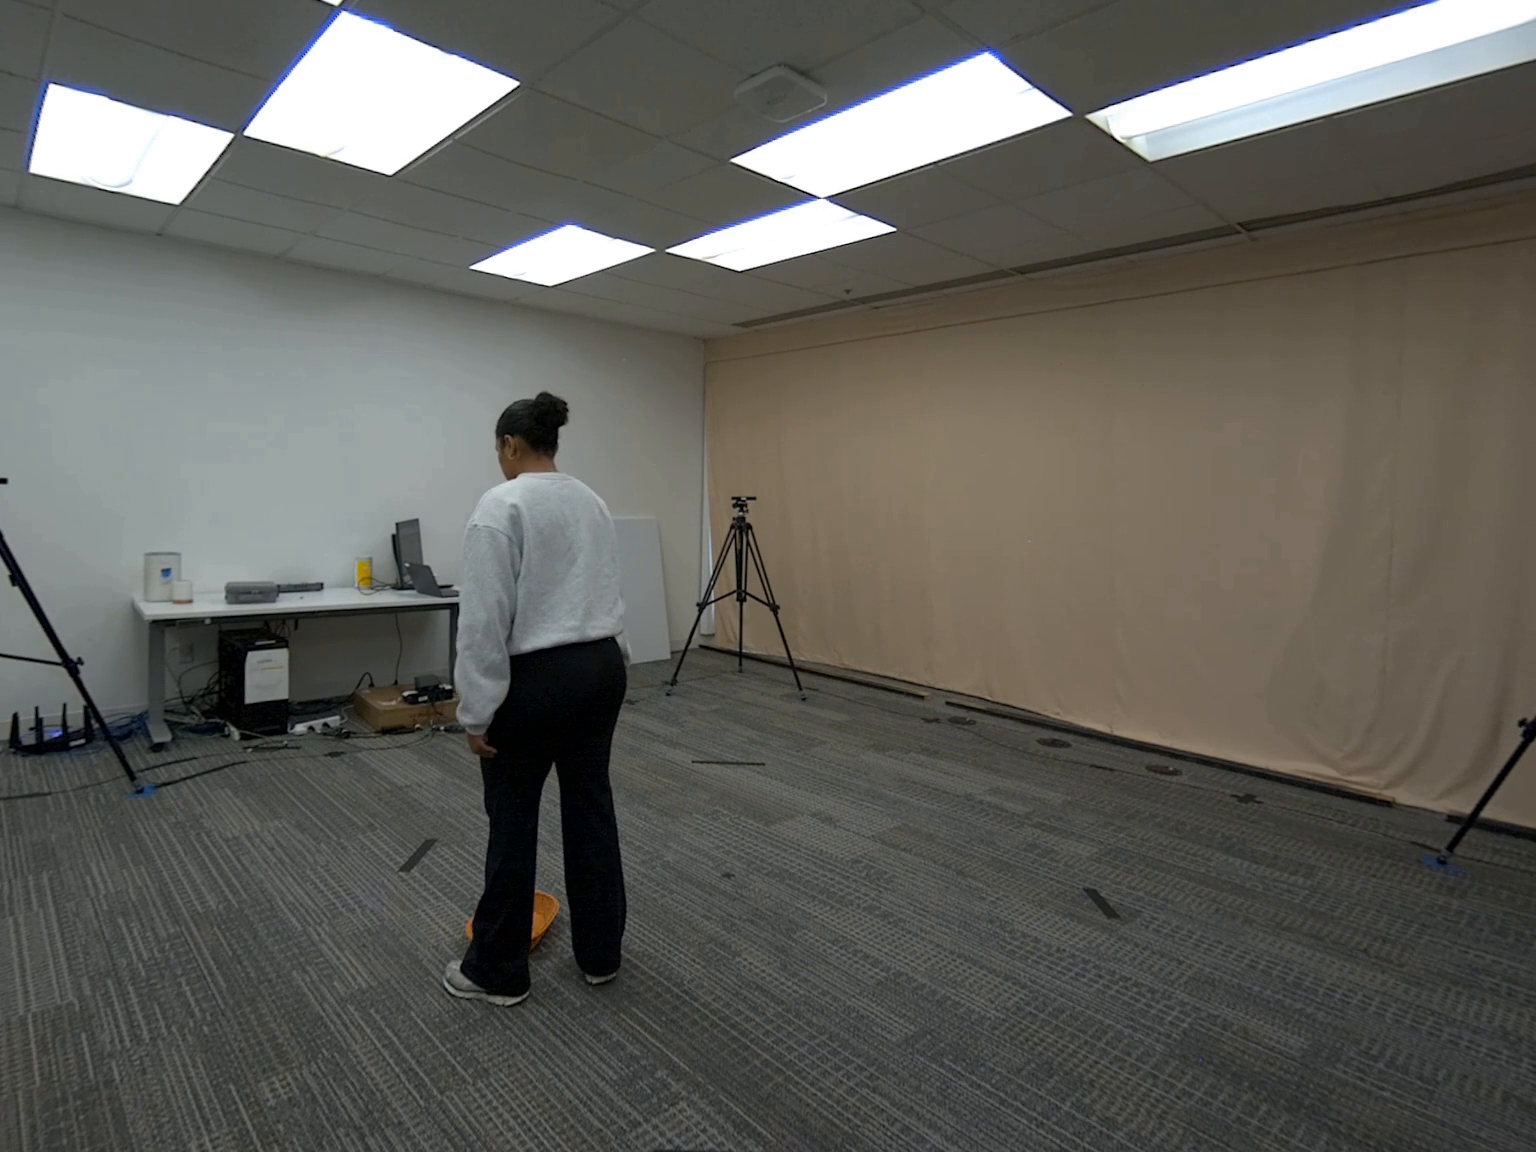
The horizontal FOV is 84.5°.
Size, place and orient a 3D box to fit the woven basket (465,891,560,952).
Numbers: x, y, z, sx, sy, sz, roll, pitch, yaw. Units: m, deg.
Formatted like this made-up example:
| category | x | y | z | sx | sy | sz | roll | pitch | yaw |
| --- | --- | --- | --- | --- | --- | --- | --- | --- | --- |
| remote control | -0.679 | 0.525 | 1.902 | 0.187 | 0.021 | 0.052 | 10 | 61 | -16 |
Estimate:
| category | x | y | z | sx | sy | sz | roll | pitch | yaw |
| --- | --- | --- | --- | --- | --- | --- | --- | --- | --- |
| woven basket | -0.802 | 1.095 | 2.642 | 0.254 | 0.073 | 0.349 | 3 | 5 | 7 |
